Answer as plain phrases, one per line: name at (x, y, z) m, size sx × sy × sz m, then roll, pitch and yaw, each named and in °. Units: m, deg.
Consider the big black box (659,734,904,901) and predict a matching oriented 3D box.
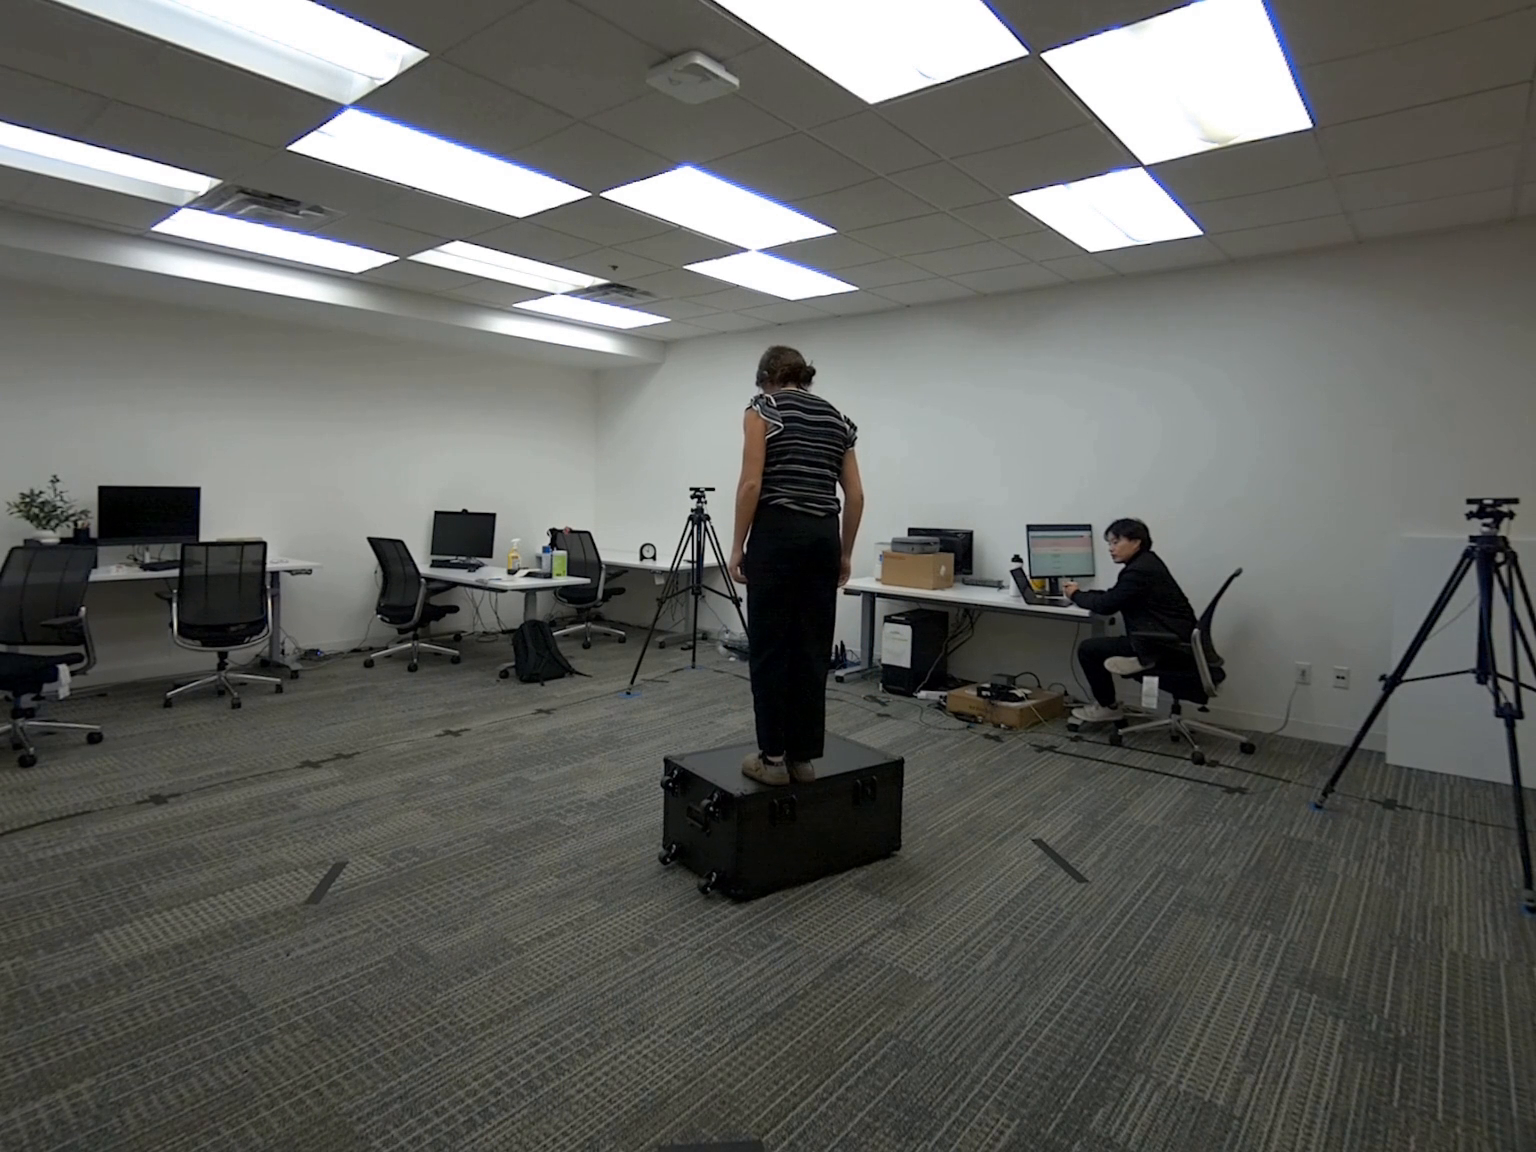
big black box at (0.026, 0.871, 3.211) m, size 0.836 × 0.395 × 0.538 m, roll -2°, pitch 5°, yaw -36°
